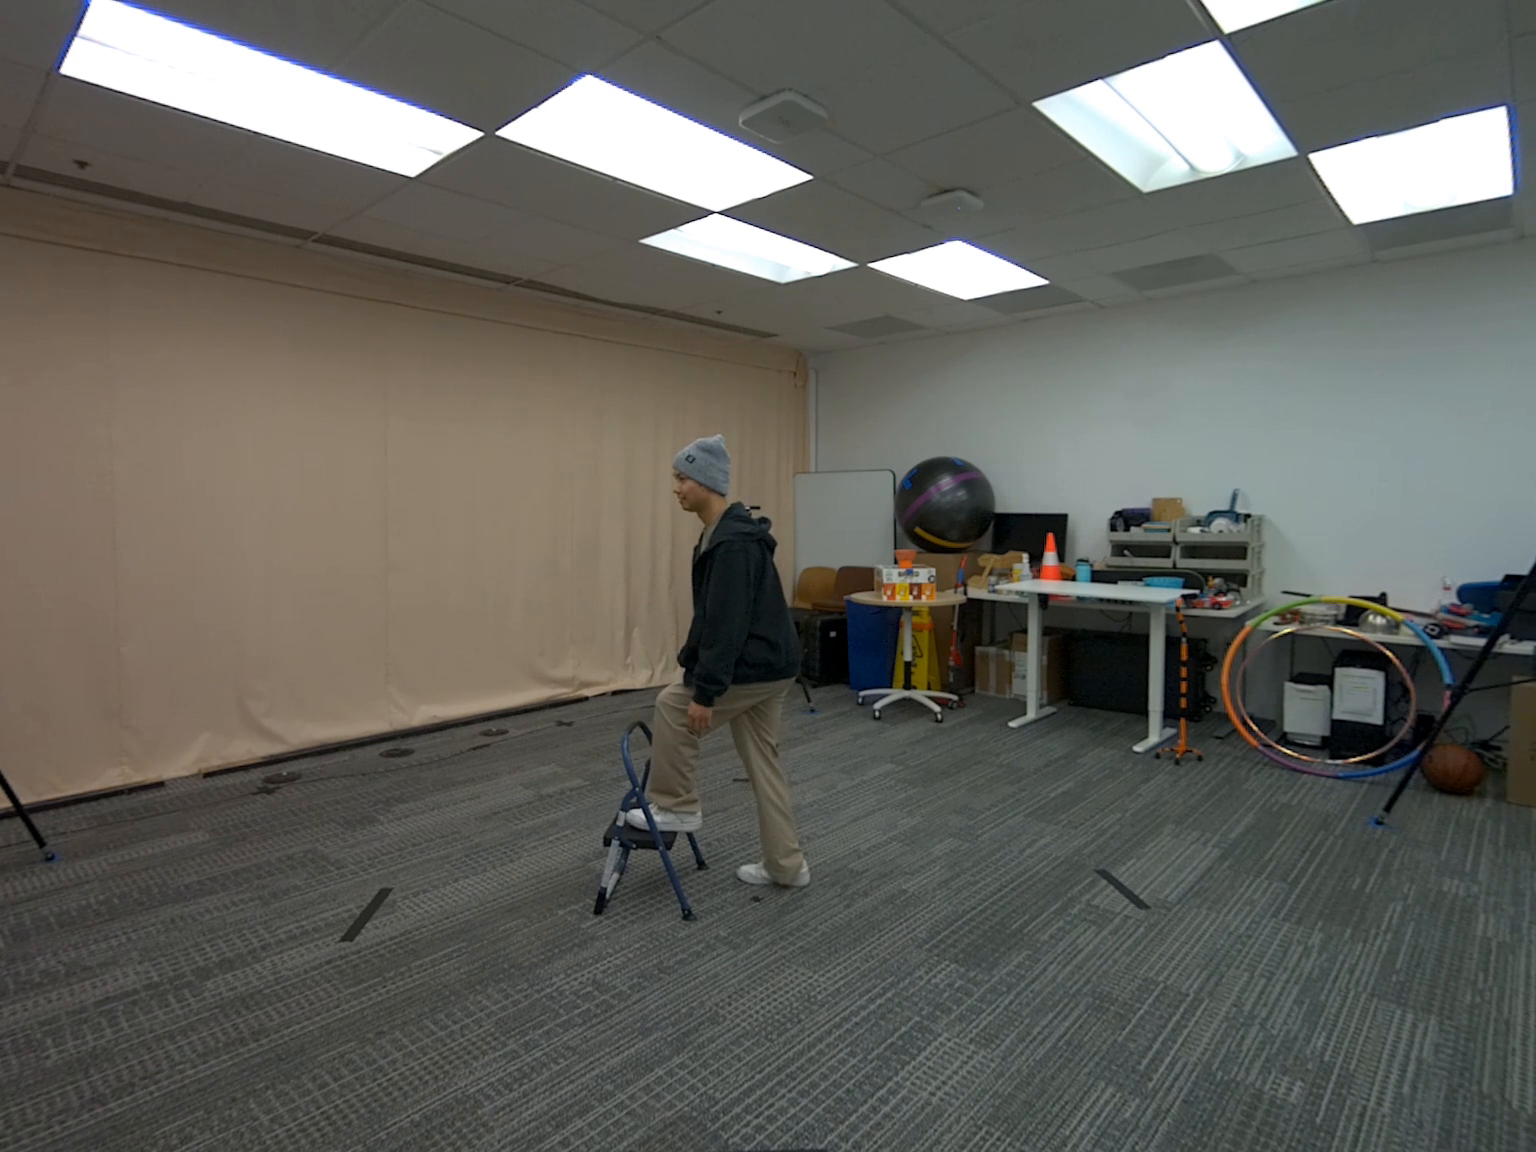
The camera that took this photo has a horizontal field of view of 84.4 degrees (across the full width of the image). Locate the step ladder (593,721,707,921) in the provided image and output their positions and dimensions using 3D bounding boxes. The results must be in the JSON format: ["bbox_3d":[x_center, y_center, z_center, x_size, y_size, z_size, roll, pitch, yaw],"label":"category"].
[{"bbox_3d":[-0.415,0.845,3.042,0.351,0.605,0.430,0,3,3],"label":"step ladder"}]
